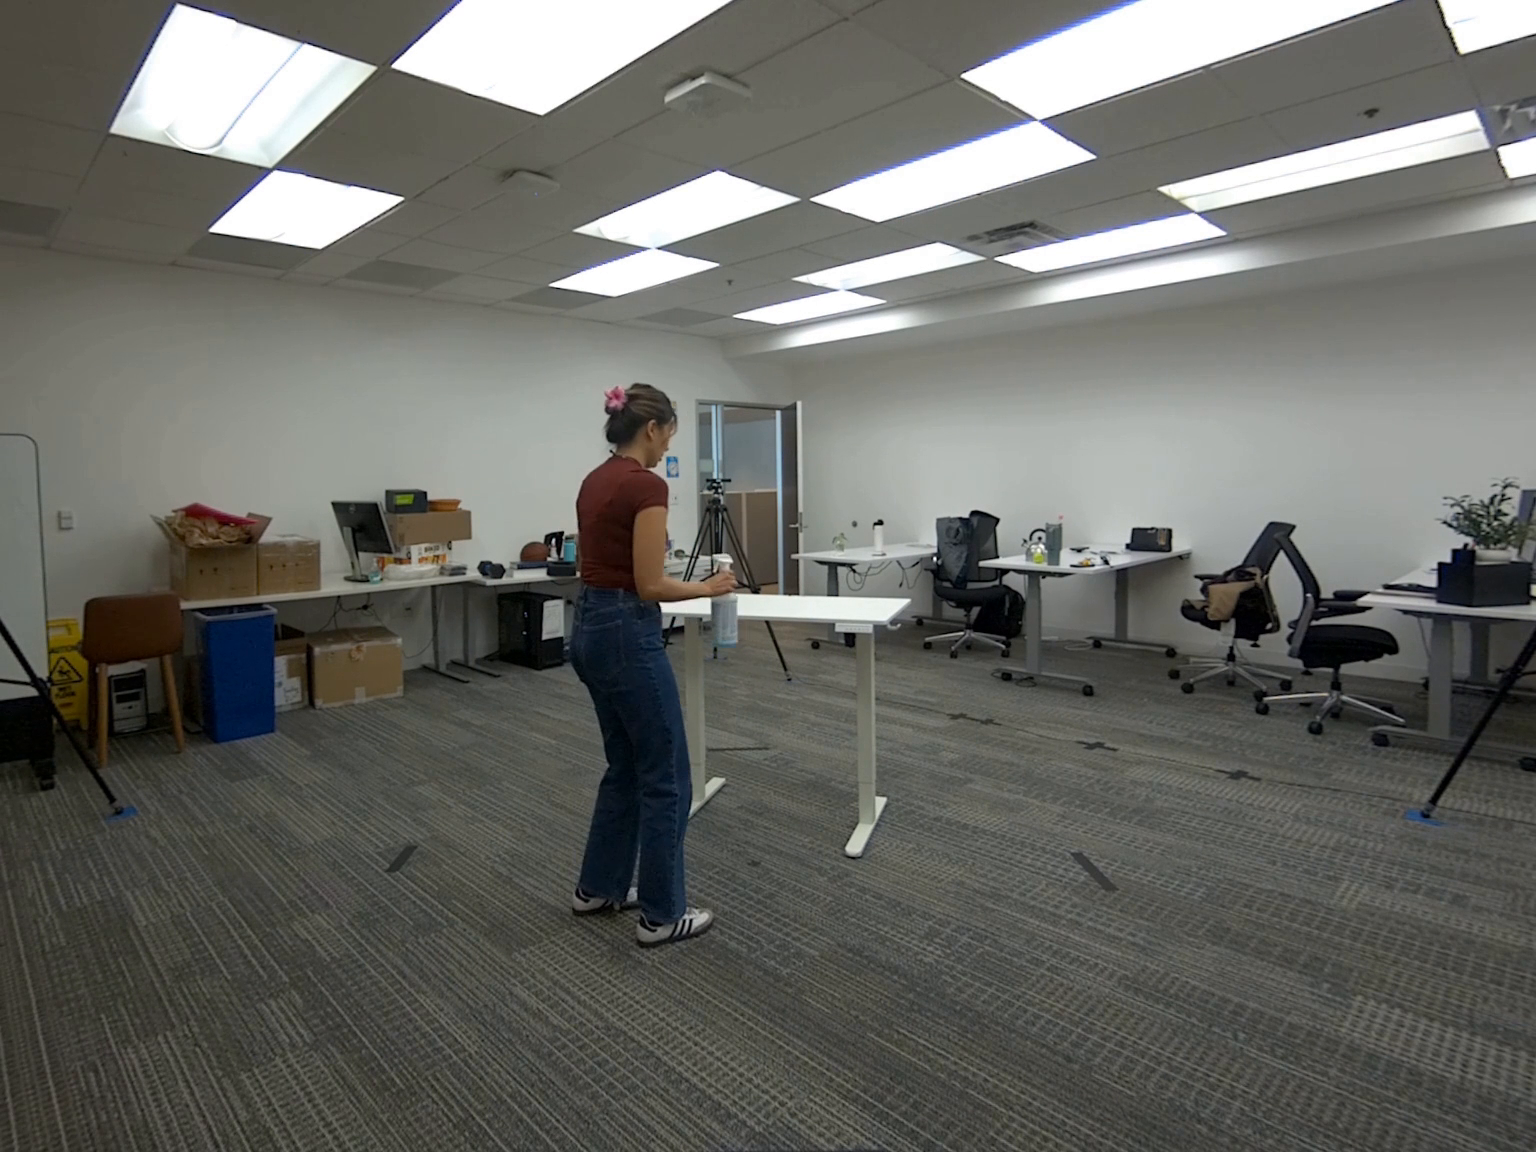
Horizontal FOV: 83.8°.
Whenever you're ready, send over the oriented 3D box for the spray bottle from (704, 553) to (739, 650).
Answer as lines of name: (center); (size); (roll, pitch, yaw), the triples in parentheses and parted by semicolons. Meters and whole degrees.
spray bottle: (-0.144, 0.081, 2.732); (0.088, 0.296, 0.089); (-3, 3, -24)
